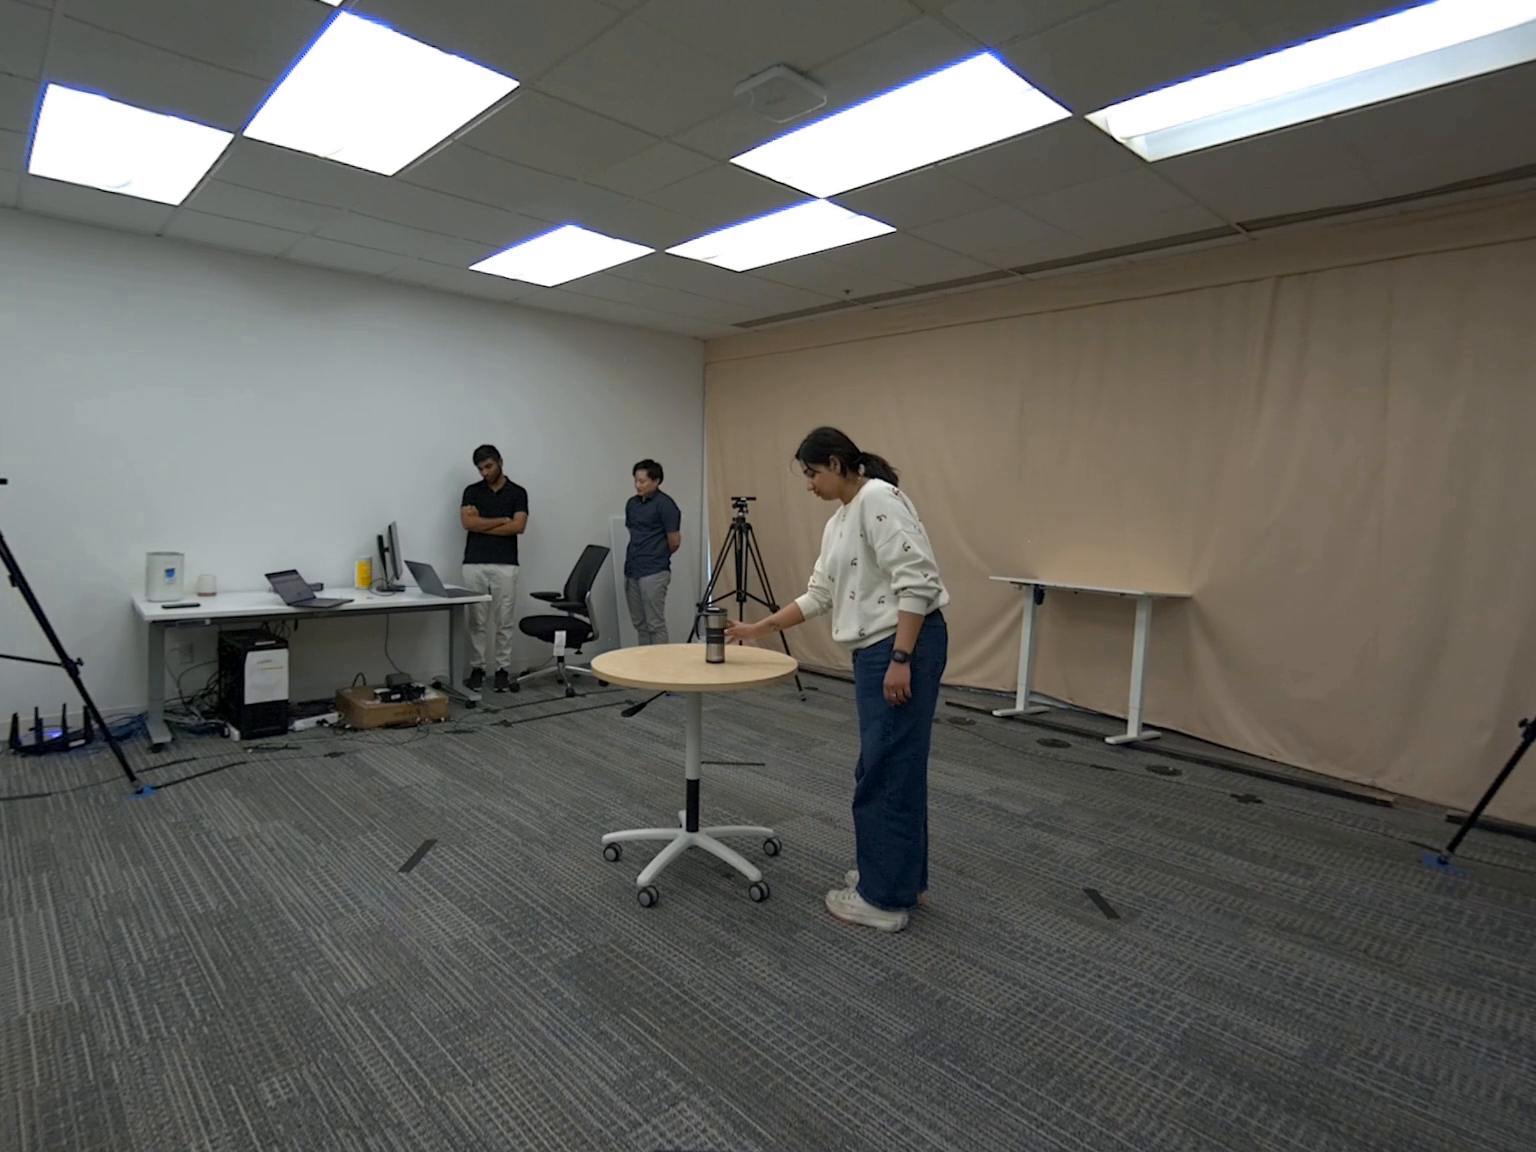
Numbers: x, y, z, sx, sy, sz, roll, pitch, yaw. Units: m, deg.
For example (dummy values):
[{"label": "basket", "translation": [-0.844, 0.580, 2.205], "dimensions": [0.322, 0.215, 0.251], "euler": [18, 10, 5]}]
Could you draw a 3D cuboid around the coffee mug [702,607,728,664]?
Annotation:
[{"label": "coffee mug", "translation": [-0.211, 0.218, 3.135], "dimensions": [0.125, 0.202, 0.086], "euler": [10, 10, 41]}]
